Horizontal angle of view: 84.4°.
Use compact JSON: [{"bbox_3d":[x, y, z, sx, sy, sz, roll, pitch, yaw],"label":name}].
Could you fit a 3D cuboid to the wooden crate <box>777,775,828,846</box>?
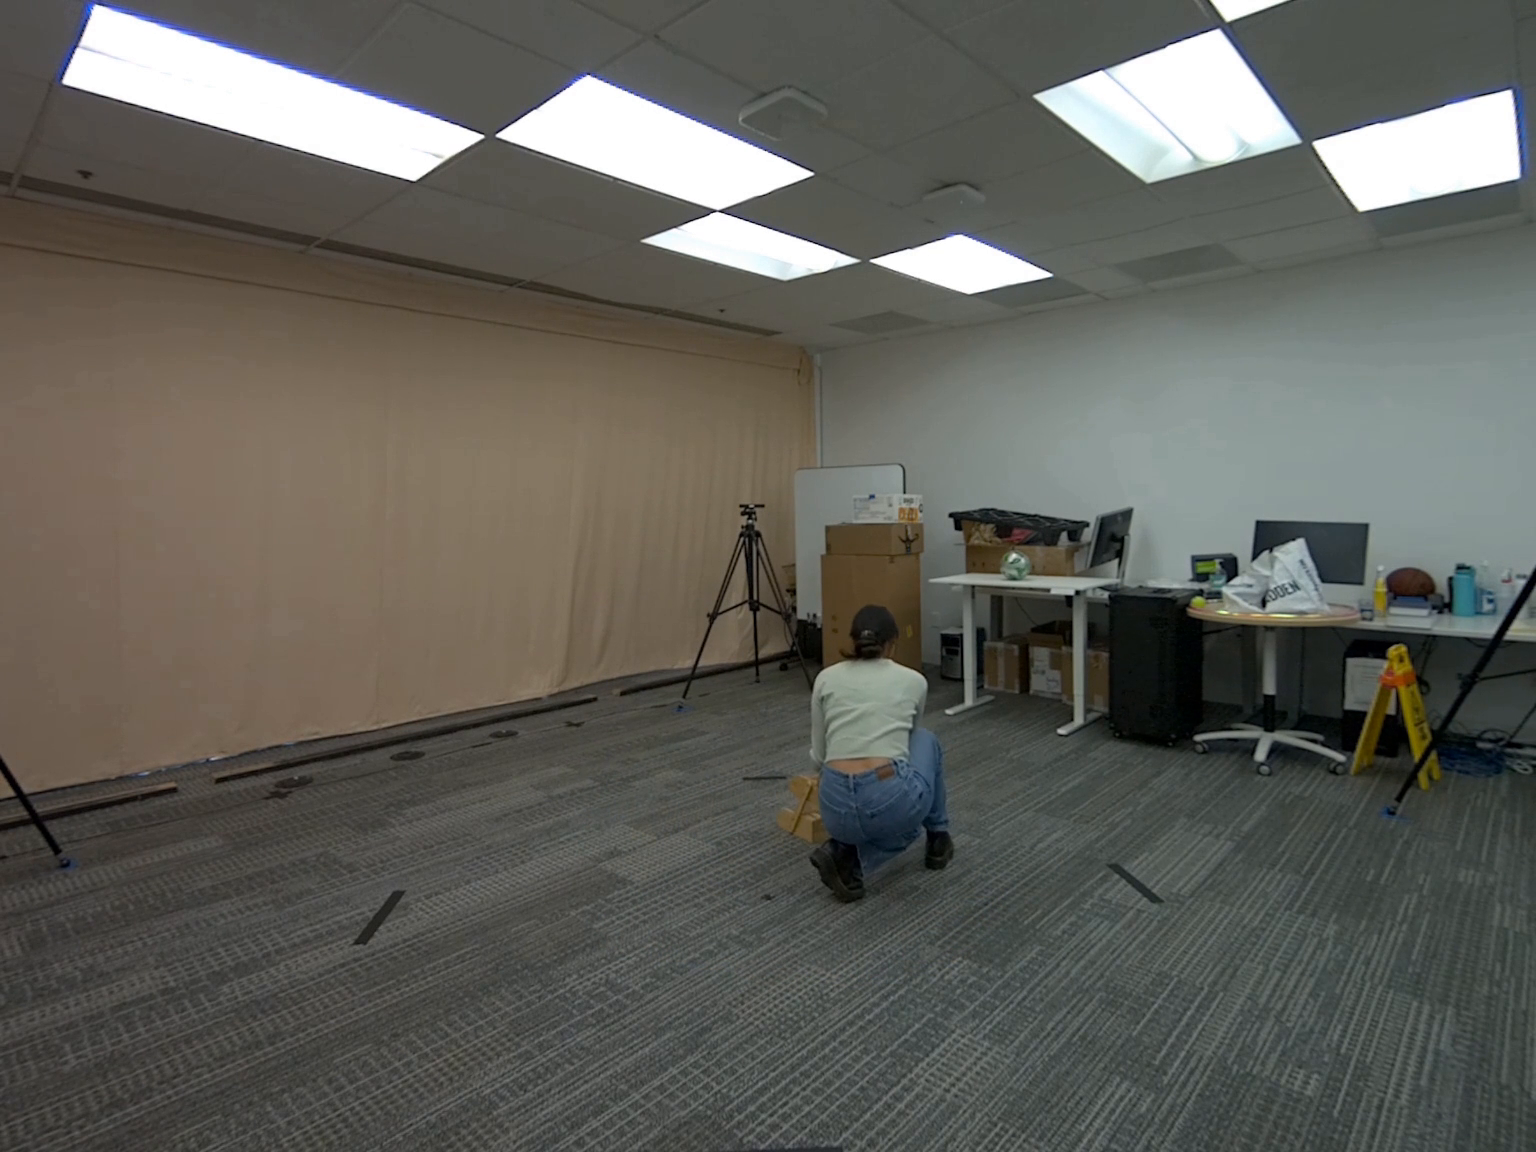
[{"bbox_3d":[0.241,0.946,3.604,0.315,0.272,0.311,-4,5,-35],"label":"wooden crate"}]
